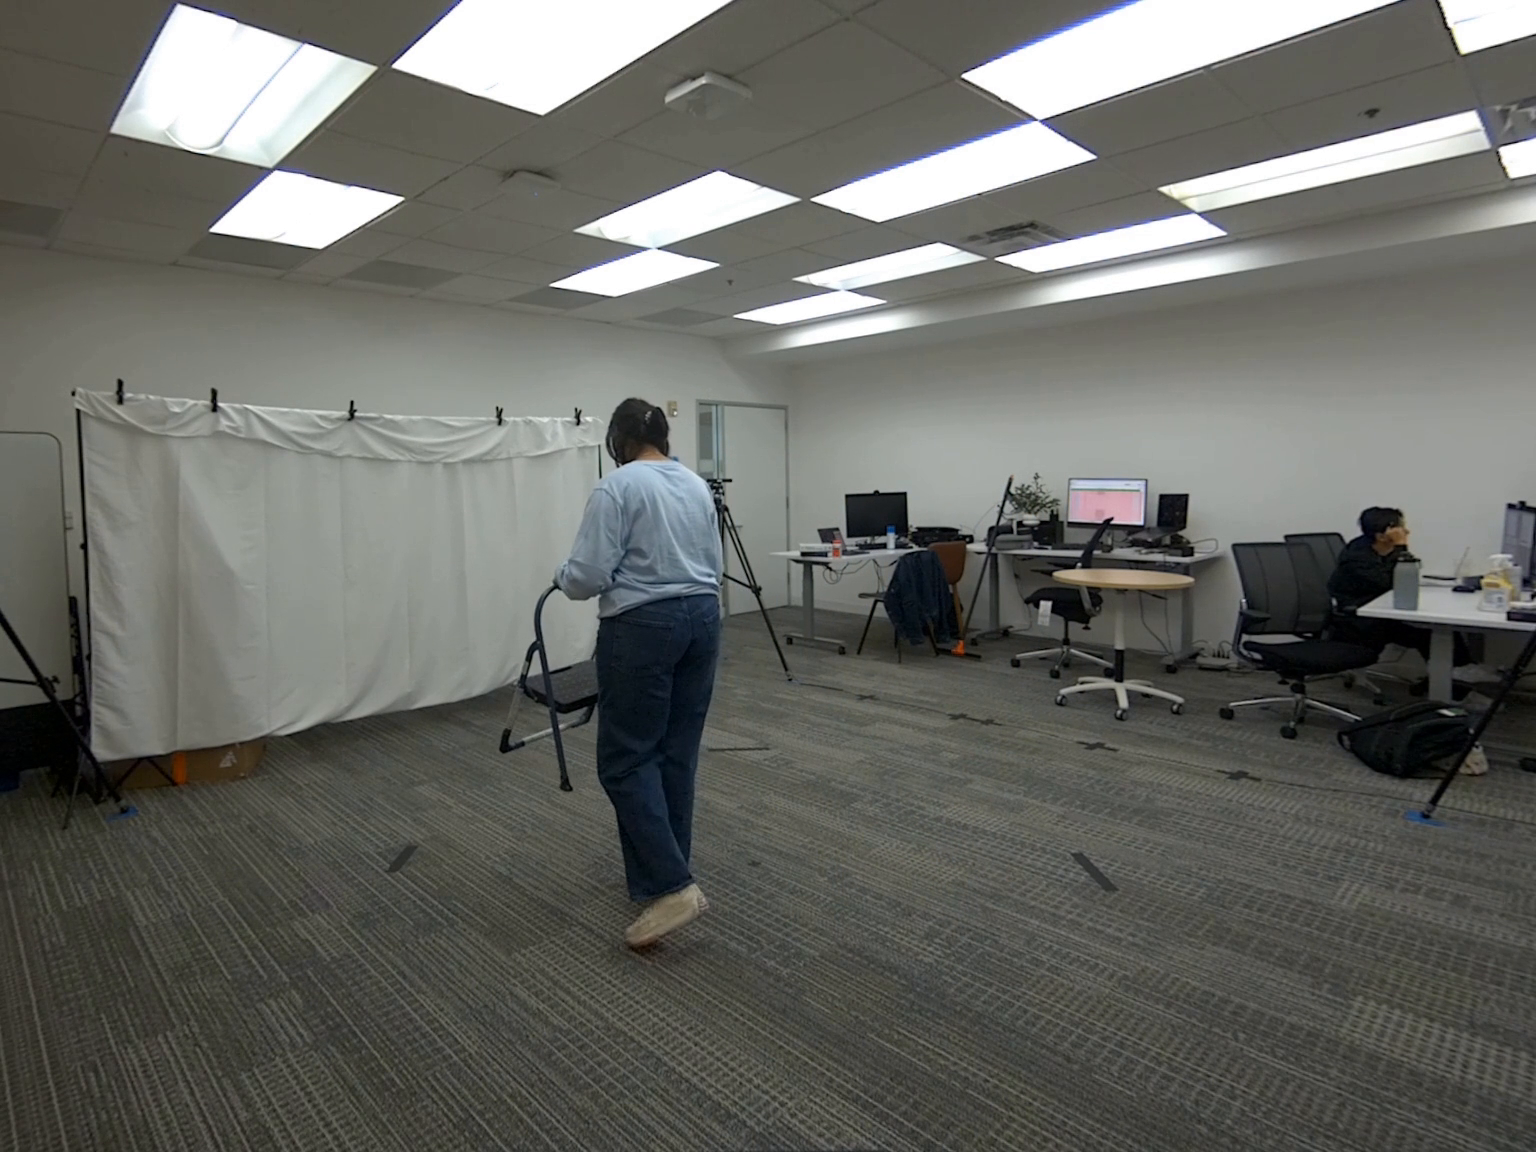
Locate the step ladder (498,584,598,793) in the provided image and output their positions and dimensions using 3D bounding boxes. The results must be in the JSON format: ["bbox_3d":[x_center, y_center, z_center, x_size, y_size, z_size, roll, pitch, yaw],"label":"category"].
[{"bbox_3d":[-0.623,0.328,2.904,0.360,0.600,0.421,15,14,31],"label":"step ladder"}]
